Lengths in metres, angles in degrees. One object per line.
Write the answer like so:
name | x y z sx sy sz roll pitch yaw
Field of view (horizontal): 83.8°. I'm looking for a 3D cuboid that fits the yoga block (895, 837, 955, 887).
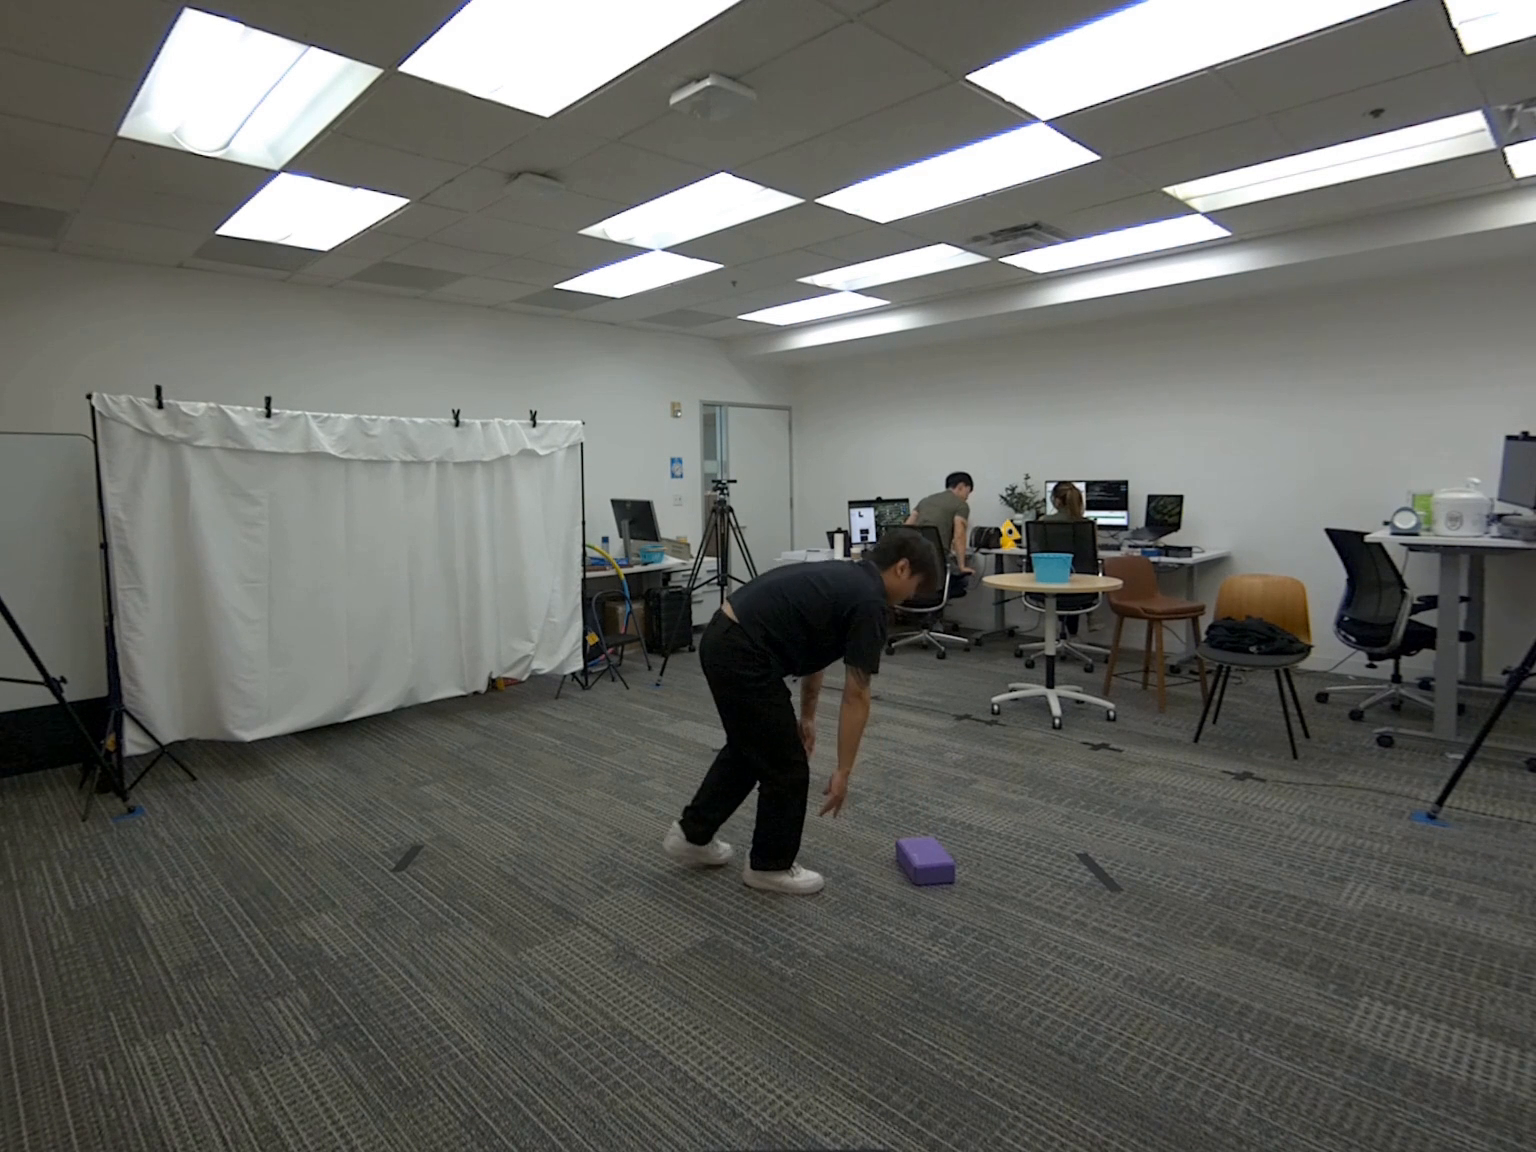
yoga block | 0.555 1.005 3.028 0.148 0.076 0.231 -2 4 -5
